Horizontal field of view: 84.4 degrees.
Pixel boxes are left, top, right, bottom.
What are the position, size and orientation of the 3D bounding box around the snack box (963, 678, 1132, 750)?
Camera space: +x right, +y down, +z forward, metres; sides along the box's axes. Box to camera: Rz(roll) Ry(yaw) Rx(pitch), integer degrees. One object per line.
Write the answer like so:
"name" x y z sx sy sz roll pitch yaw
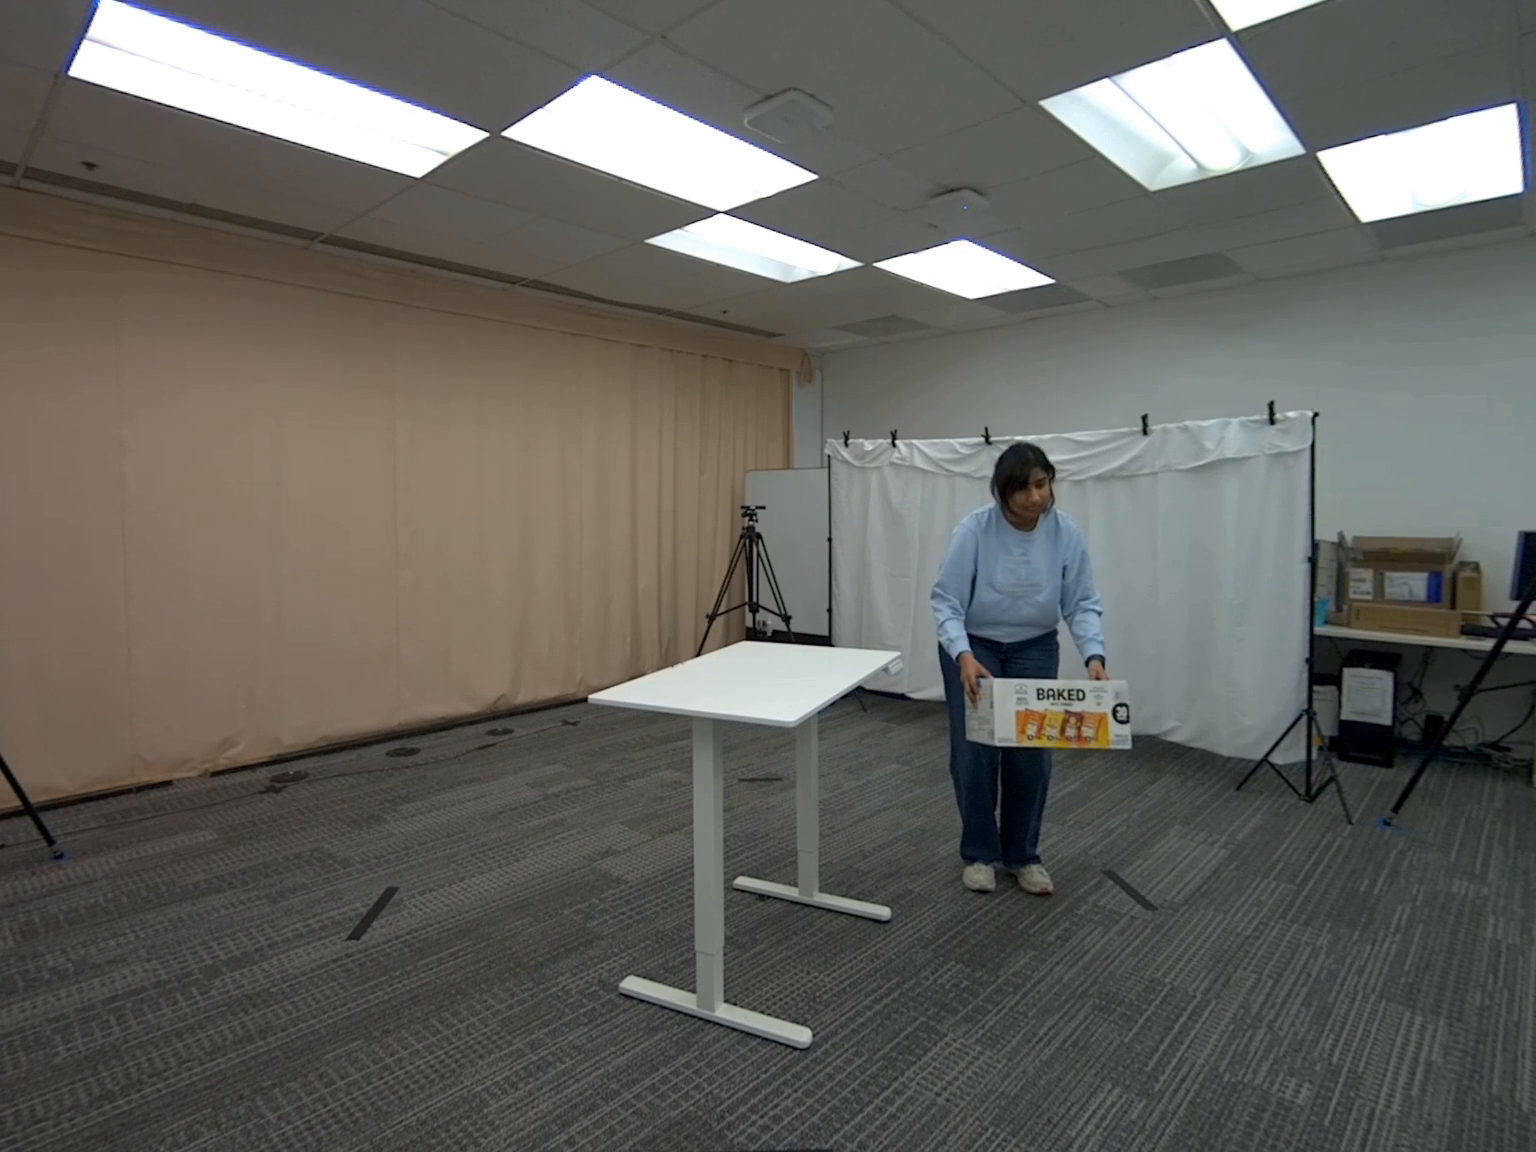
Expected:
"snack box" 0.885 0.436 2.696 0.405 0.207 0.338 0 -8 -1
